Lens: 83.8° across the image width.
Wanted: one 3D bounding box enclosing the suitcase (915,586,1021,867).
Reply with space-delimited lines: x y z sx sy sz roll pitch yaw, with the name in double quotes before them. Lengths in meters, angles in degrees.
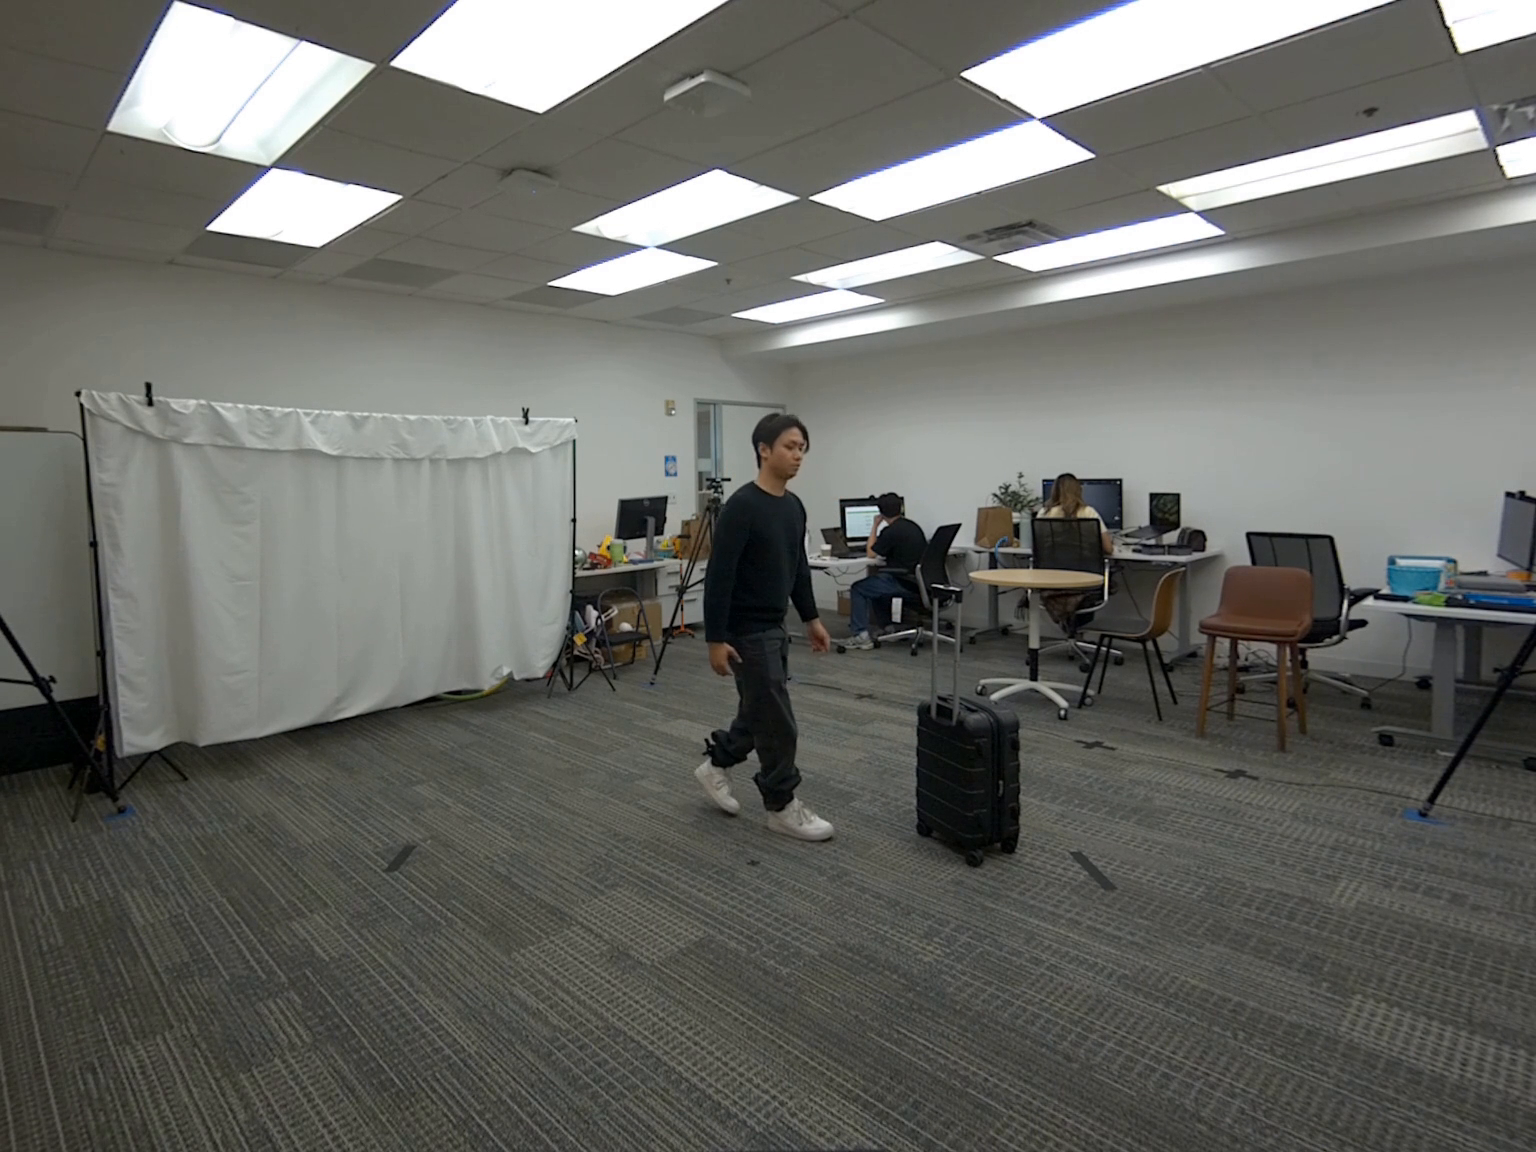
"suitcase" 0.758 0.538 3.221 0.251 0.977 0.393 0 2 -25
